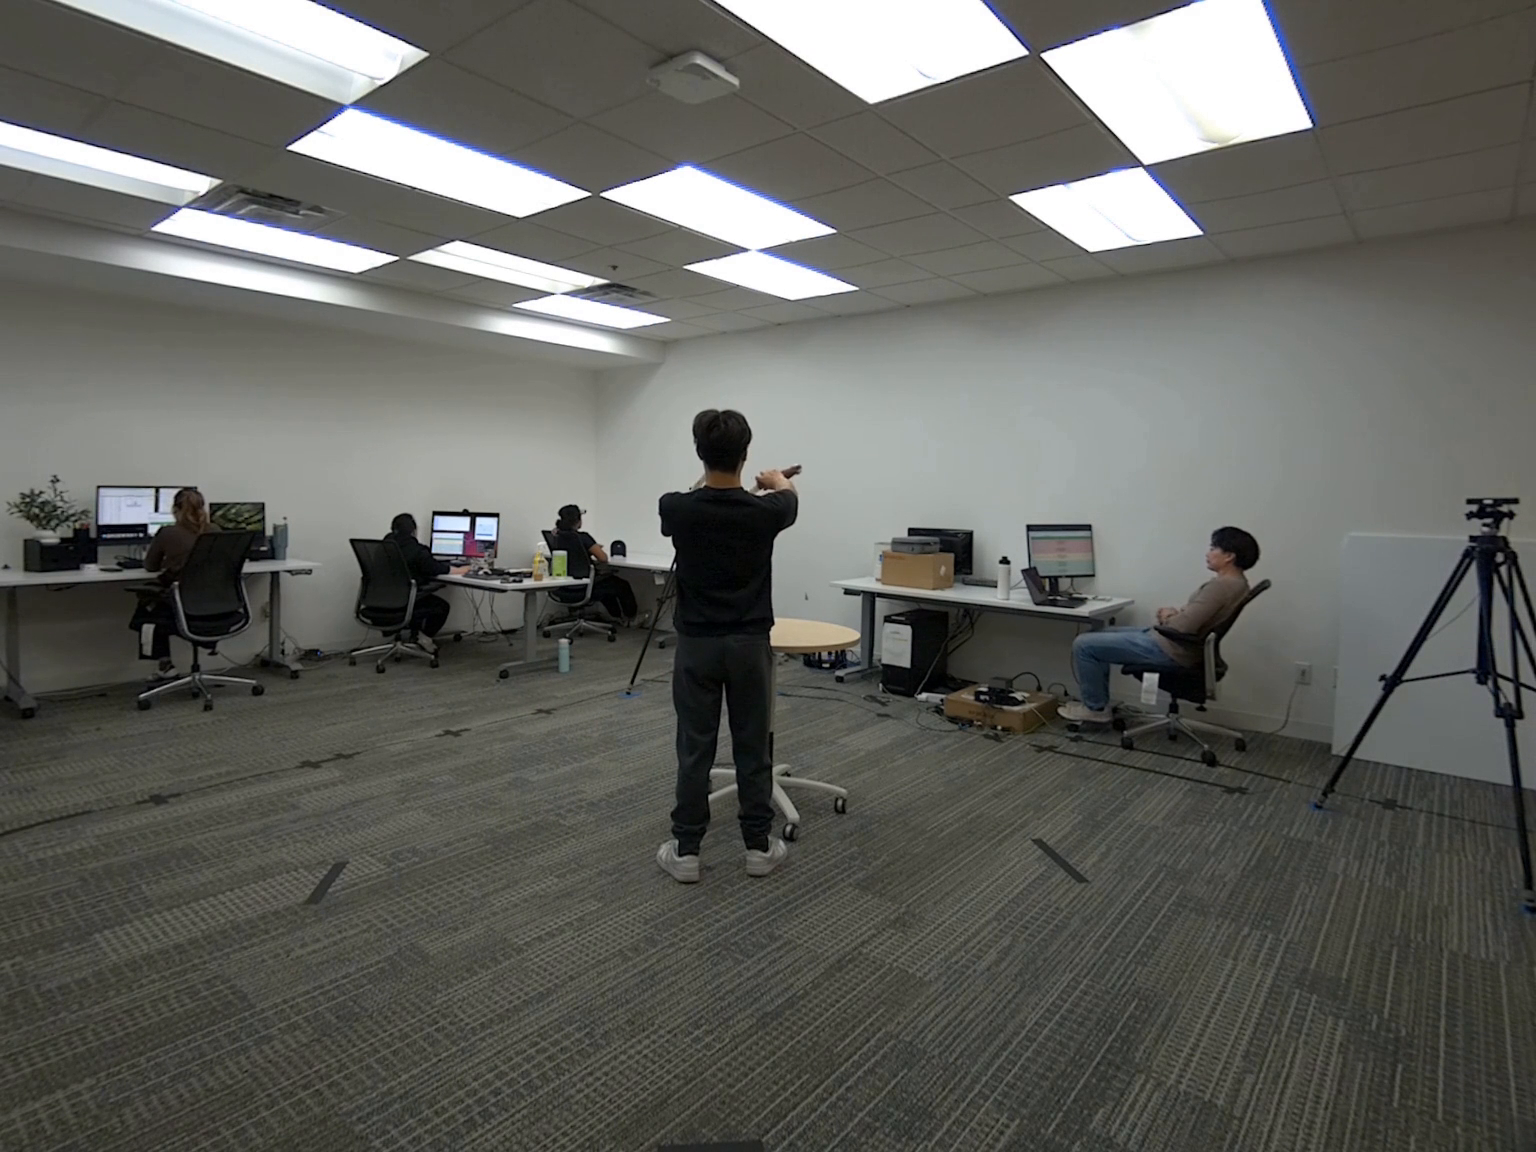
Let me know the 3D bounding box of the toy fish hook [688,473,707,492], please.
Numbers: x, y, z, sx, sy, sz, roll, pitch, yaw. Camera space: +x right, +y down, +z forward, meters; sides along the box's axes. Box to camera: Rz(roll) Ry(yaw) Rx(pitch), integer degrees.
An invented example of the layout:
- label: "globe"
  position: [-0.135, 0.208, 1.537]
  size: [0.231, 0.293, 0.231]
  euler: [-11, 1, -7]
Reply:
- label: "toy fish hook"
  position: [-0.122, -0.405, 3.608]
  size: [0.511, 0.224, 0.048]
  euler: [-24, 1, 18]
